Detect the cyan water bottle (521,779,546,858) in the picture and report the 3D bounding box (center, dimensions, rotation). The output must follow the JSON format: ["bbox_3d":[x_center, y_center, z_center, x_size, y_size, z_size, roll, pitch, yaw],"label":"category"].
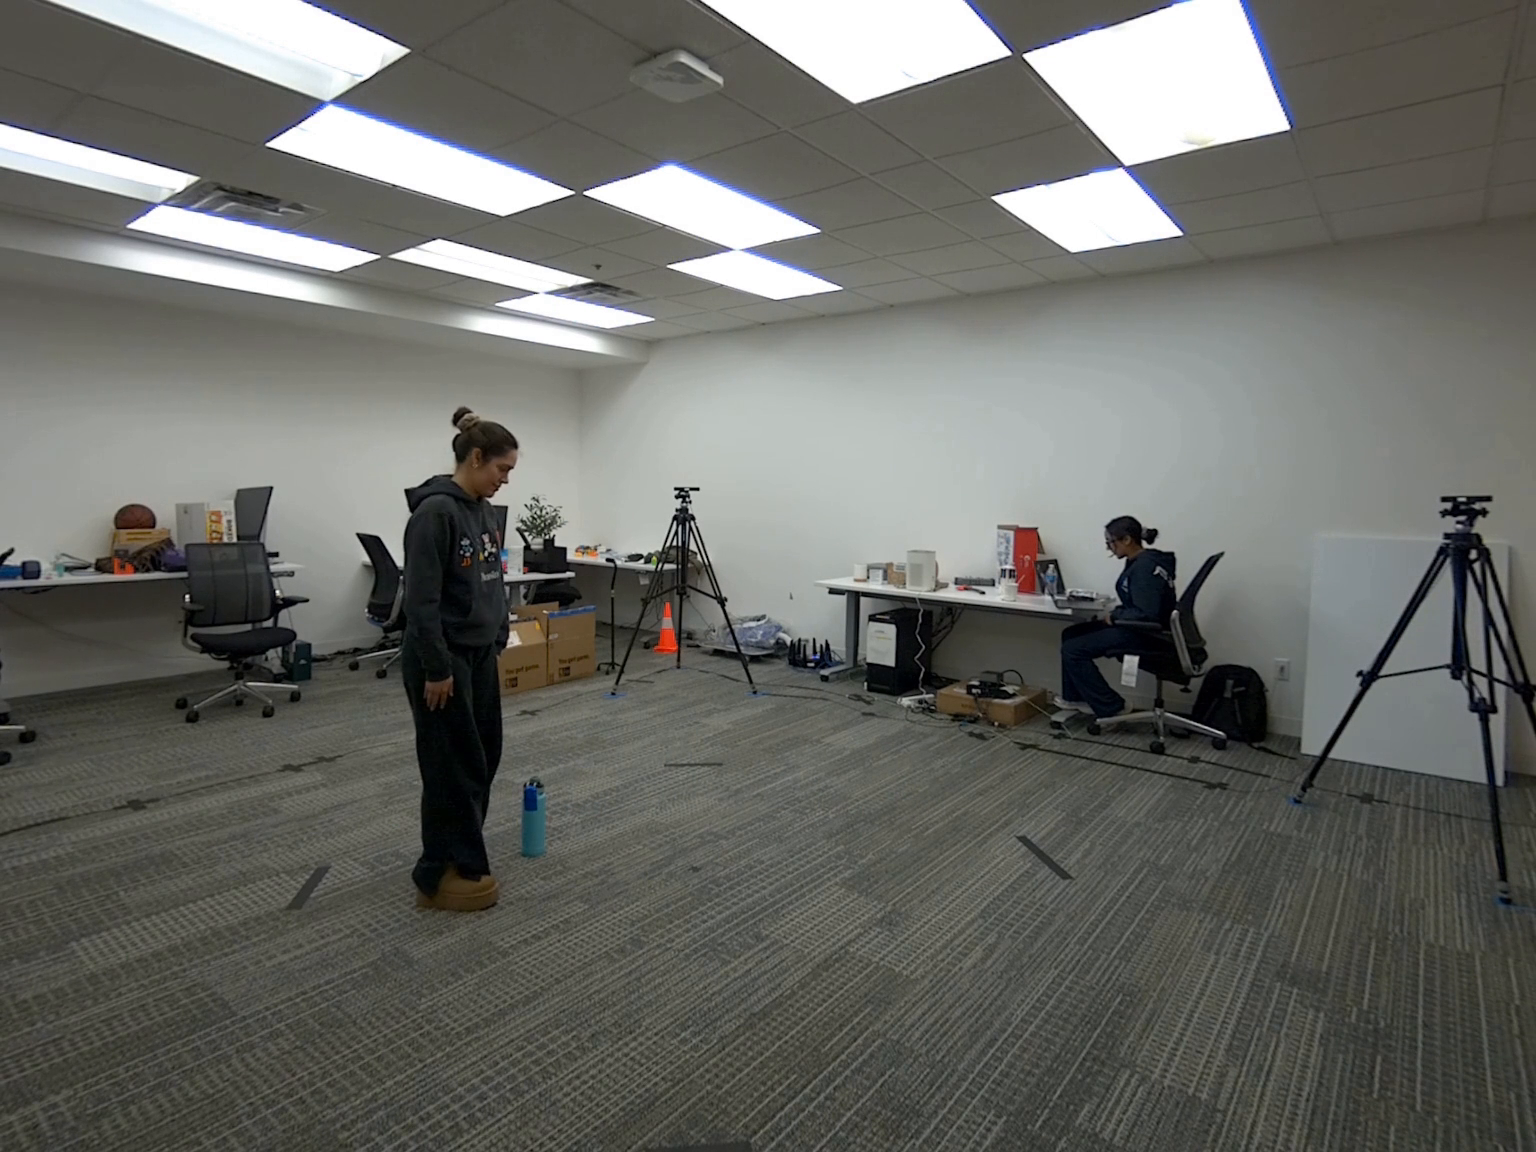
[{"bbox_3d":[-0.890,0.907,3.218,0.092,0.282,0.093,1,4,-2],"label":"cyan water bottle"}]
